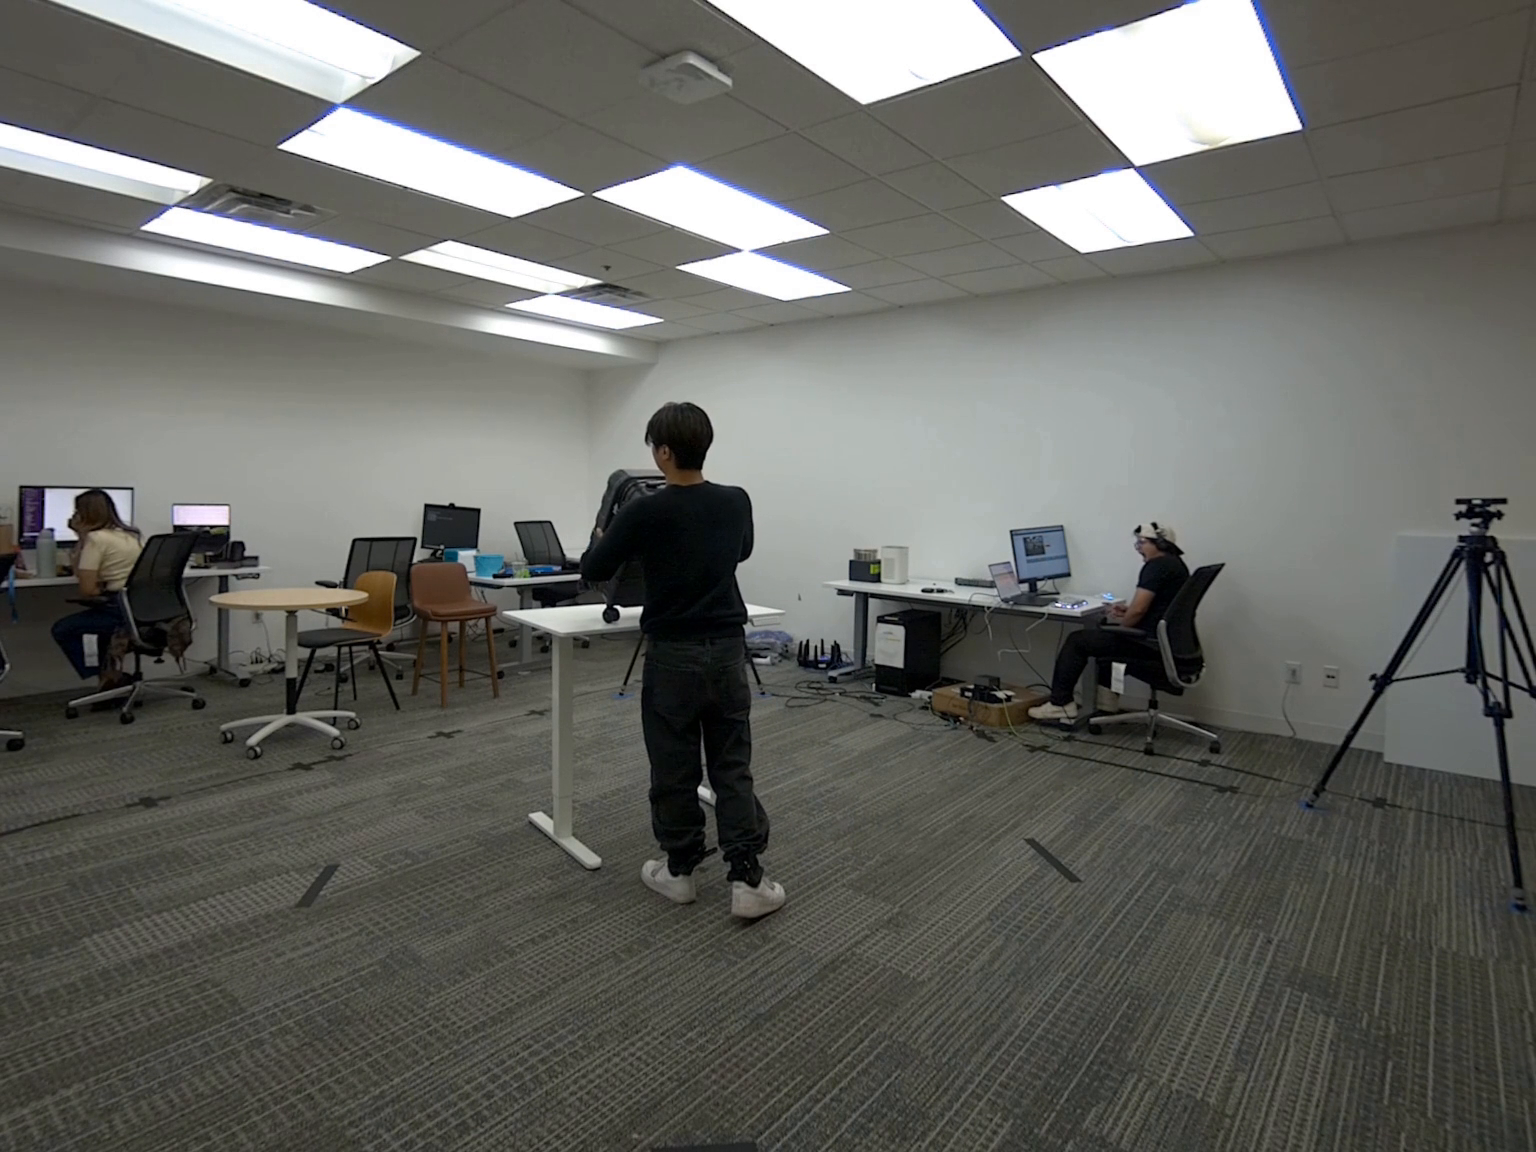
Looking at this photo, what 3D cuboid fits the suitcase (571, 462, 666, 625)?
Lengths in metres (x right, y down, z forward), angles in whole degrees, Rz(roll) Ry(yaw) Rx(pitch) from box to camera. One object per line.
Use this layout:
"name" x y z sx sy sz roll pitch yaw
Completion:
"suitcase" -0.480 -0.135 3.232 0.364 0.542 0.259 -5 34 -41
